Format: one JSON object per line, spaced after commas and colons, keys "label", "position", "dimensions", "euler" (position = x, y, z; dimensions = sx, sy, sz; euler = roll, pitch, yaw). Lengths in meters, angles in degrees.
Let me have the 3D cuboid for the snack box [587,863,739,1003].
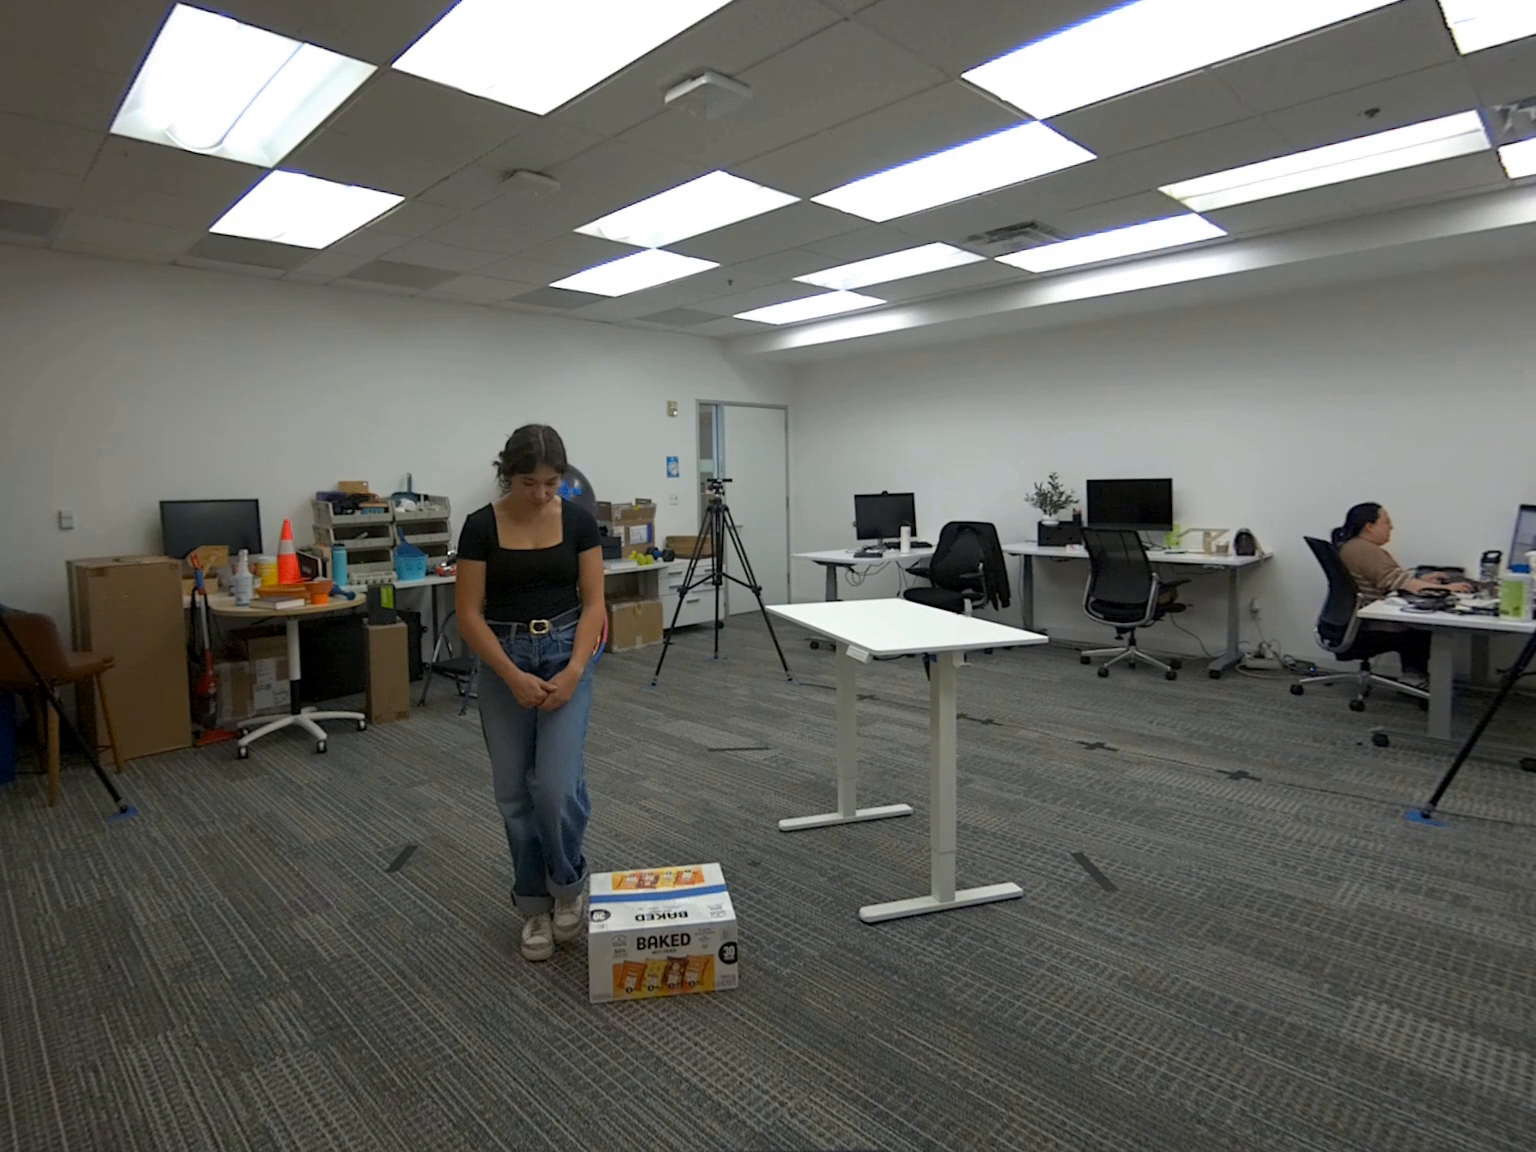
{"label": "snack box", "position": [-0.309, 1.022, 2.470], "dimensions": [0.402, 0.205, 0.345], "euler": [-3, 6, -9]}
